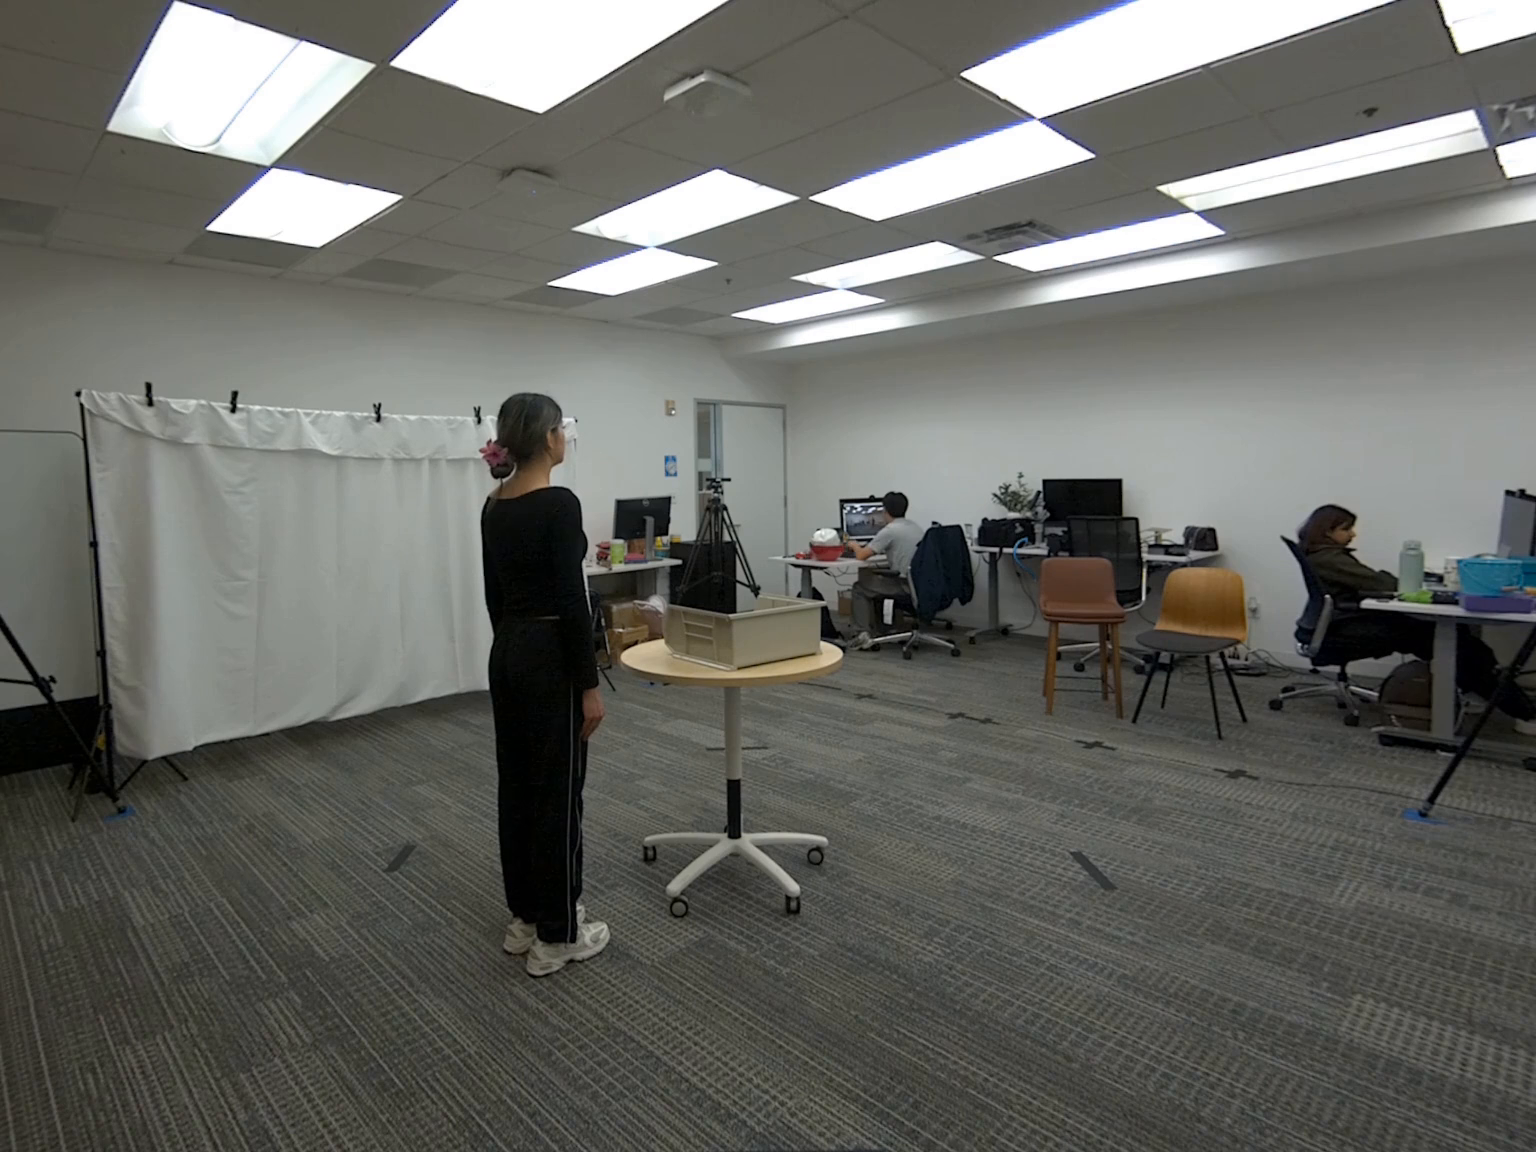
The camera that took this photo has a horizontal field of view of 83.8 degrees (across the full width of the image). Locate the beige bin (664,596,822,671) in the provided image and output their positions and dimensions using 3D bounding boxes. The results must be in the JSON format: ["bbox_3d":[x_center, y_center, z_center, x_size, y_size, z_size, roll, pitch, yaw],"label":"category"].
[{"bbox_3d":[-0.083,0.182,2.920,0.411,0.188,0.389,-5,8,-40],"label":"beige bin"}]
